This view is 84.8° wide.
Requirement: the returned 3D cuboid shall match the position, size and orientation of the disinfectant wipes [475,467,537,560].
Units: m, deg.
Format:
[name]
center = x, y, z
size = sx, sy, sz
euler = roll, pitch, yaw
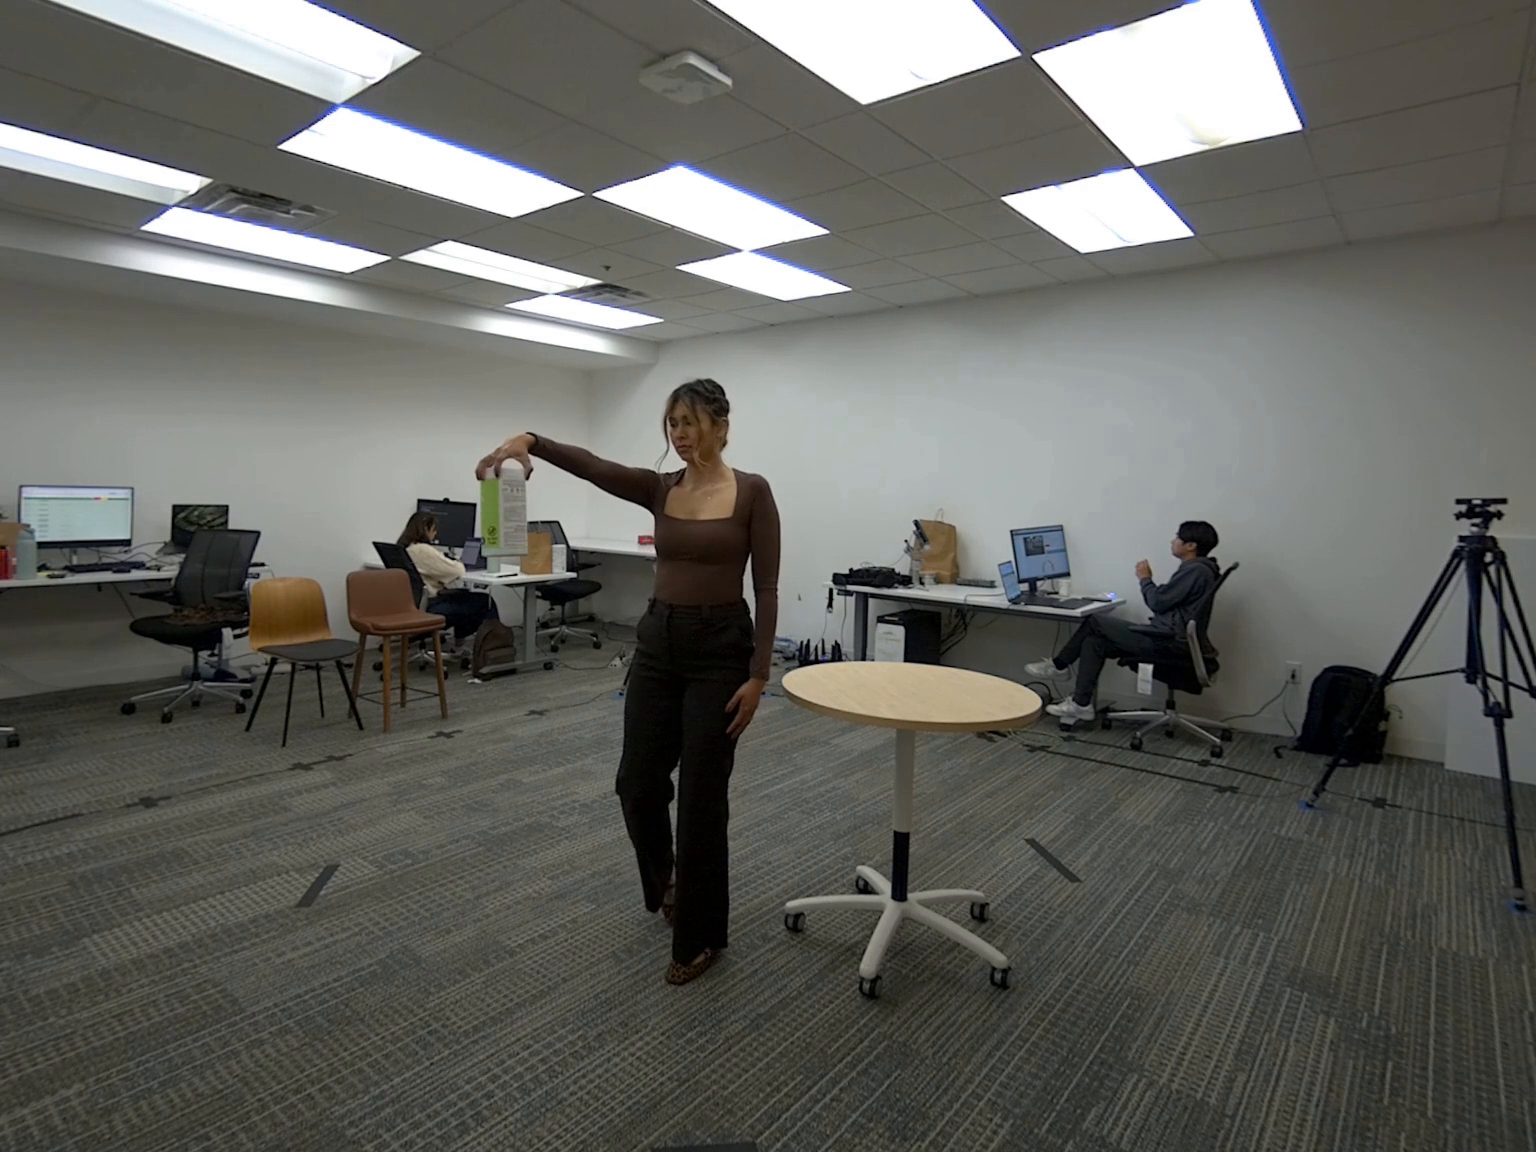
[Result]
[disinfectant wipes]
center = -0.649, -0.153, 2.082
size = 0.118, 0.218, 0.117
euler = -2, -2, -2
